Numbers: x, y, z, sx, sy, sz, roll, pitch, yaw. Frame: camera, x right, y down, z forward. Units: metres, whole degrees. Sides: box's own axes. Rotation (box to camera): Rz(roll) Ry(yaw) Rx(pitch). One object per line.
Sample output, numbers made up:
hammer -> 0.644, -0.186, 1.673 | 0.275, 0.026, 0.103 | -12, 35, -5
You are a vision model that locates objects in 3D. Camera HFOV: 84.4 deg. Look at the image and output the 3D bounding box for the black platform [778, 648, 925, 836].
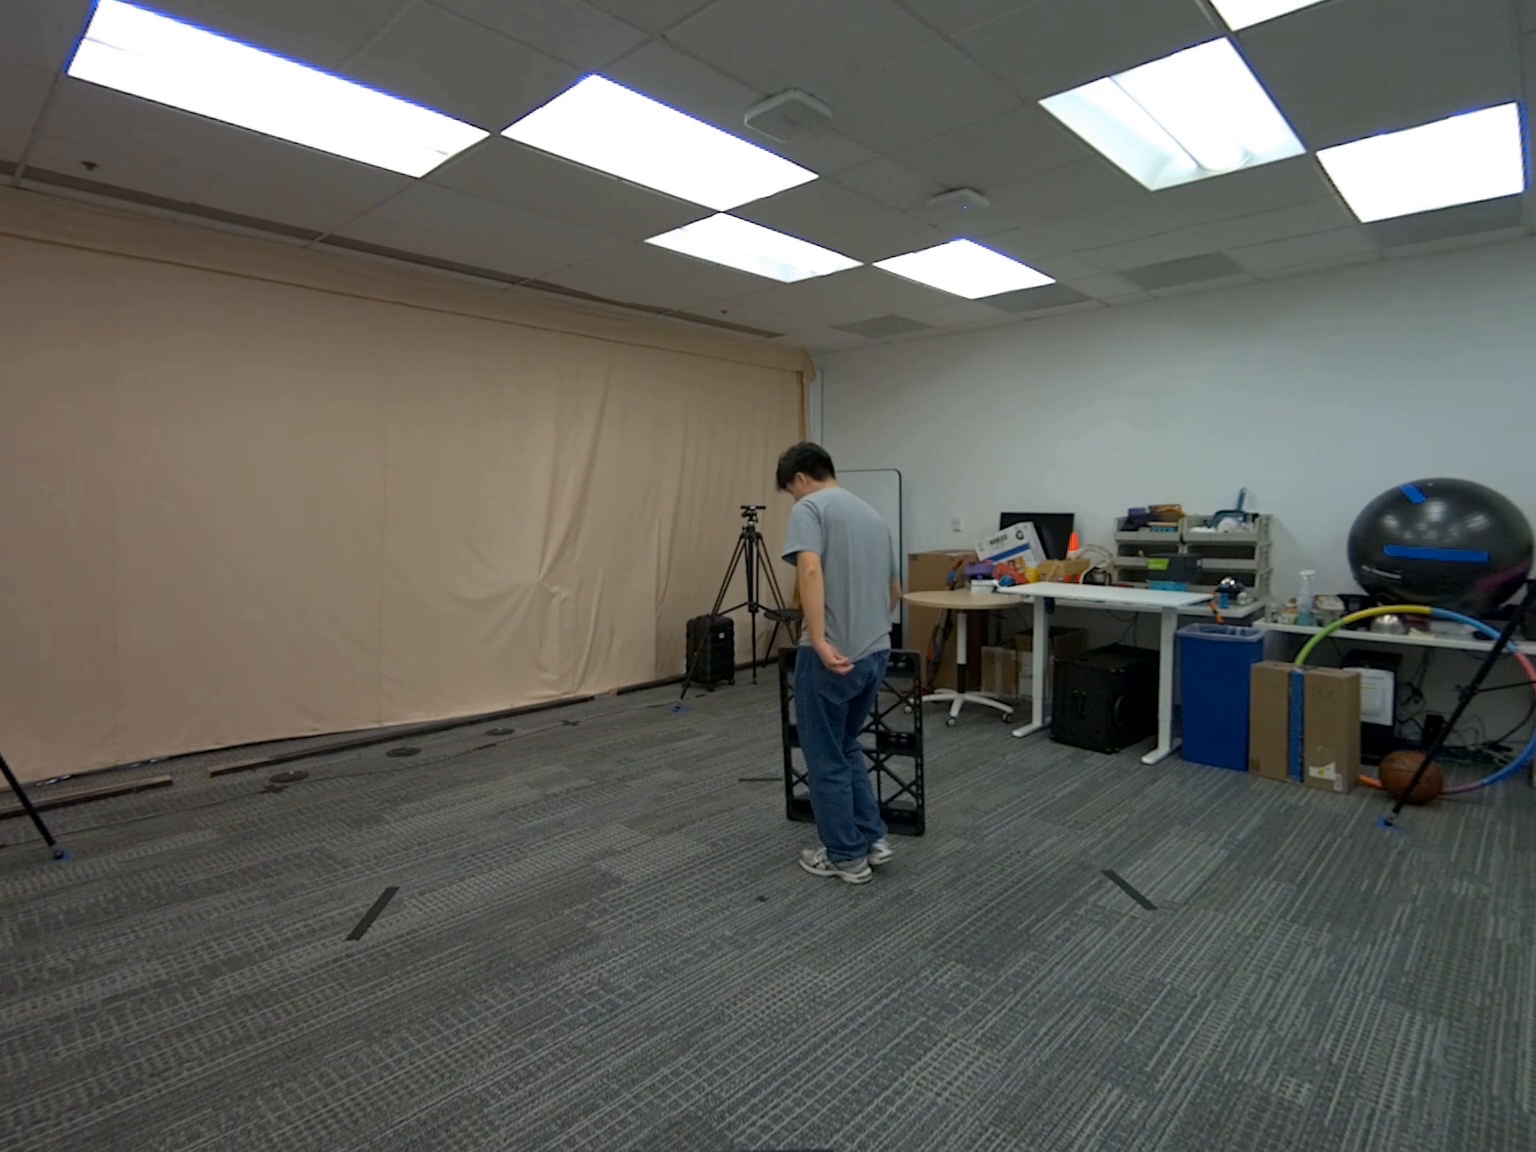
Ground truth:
black platform -> 0.374, 0.684, 3.613 | 0.616, 0.800, 0.141 | 0, 10, 17
